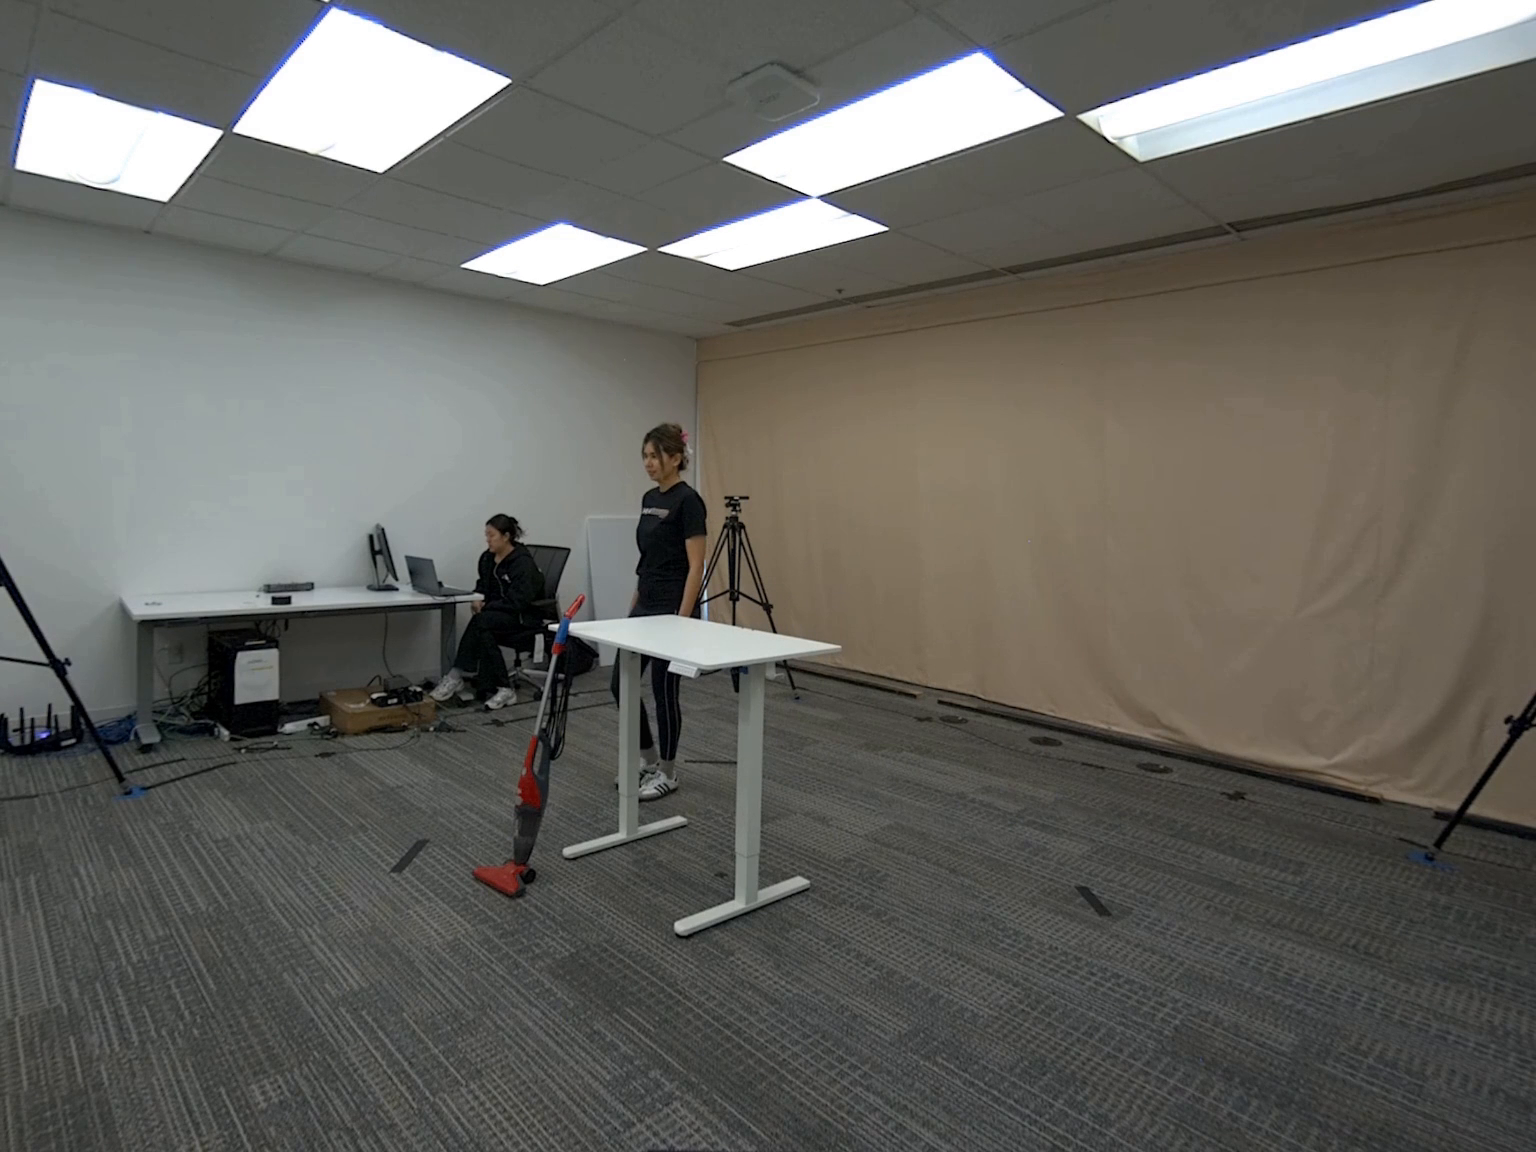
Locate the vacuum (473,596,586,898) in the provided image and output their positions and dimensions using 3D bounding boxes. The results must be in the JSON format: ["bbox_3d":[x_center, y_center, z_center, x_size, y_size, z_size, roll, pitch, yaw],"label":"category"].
[{"bbox_3d":[-0.835,0.594,3.101,0.259,1.056,0.139,4,-15,39],"label":"vacuum"}]
